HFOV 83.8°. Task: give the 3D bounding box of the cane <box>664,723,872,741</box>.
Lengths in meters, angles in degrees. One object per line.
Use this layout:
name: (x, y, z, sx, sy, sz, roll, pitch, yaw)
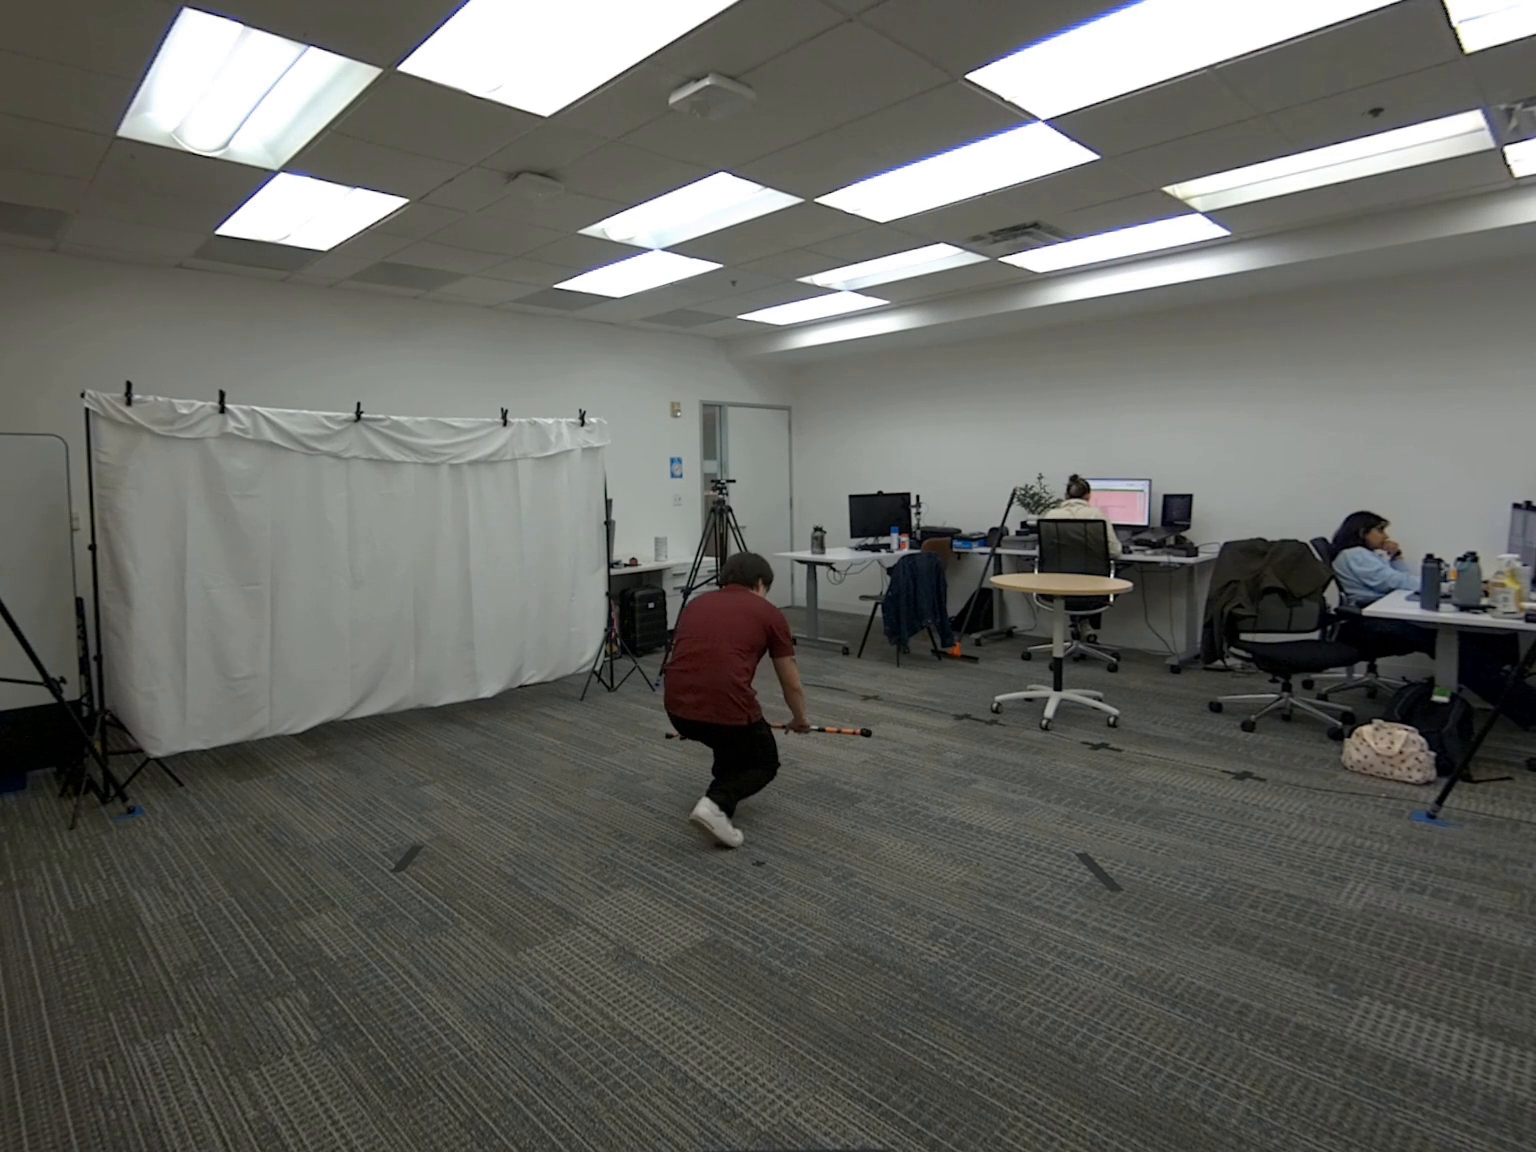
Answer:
cane: (0.002, 0.681, 3.825, 0.924, 0.153, 0.200, 1, -14, 18)
